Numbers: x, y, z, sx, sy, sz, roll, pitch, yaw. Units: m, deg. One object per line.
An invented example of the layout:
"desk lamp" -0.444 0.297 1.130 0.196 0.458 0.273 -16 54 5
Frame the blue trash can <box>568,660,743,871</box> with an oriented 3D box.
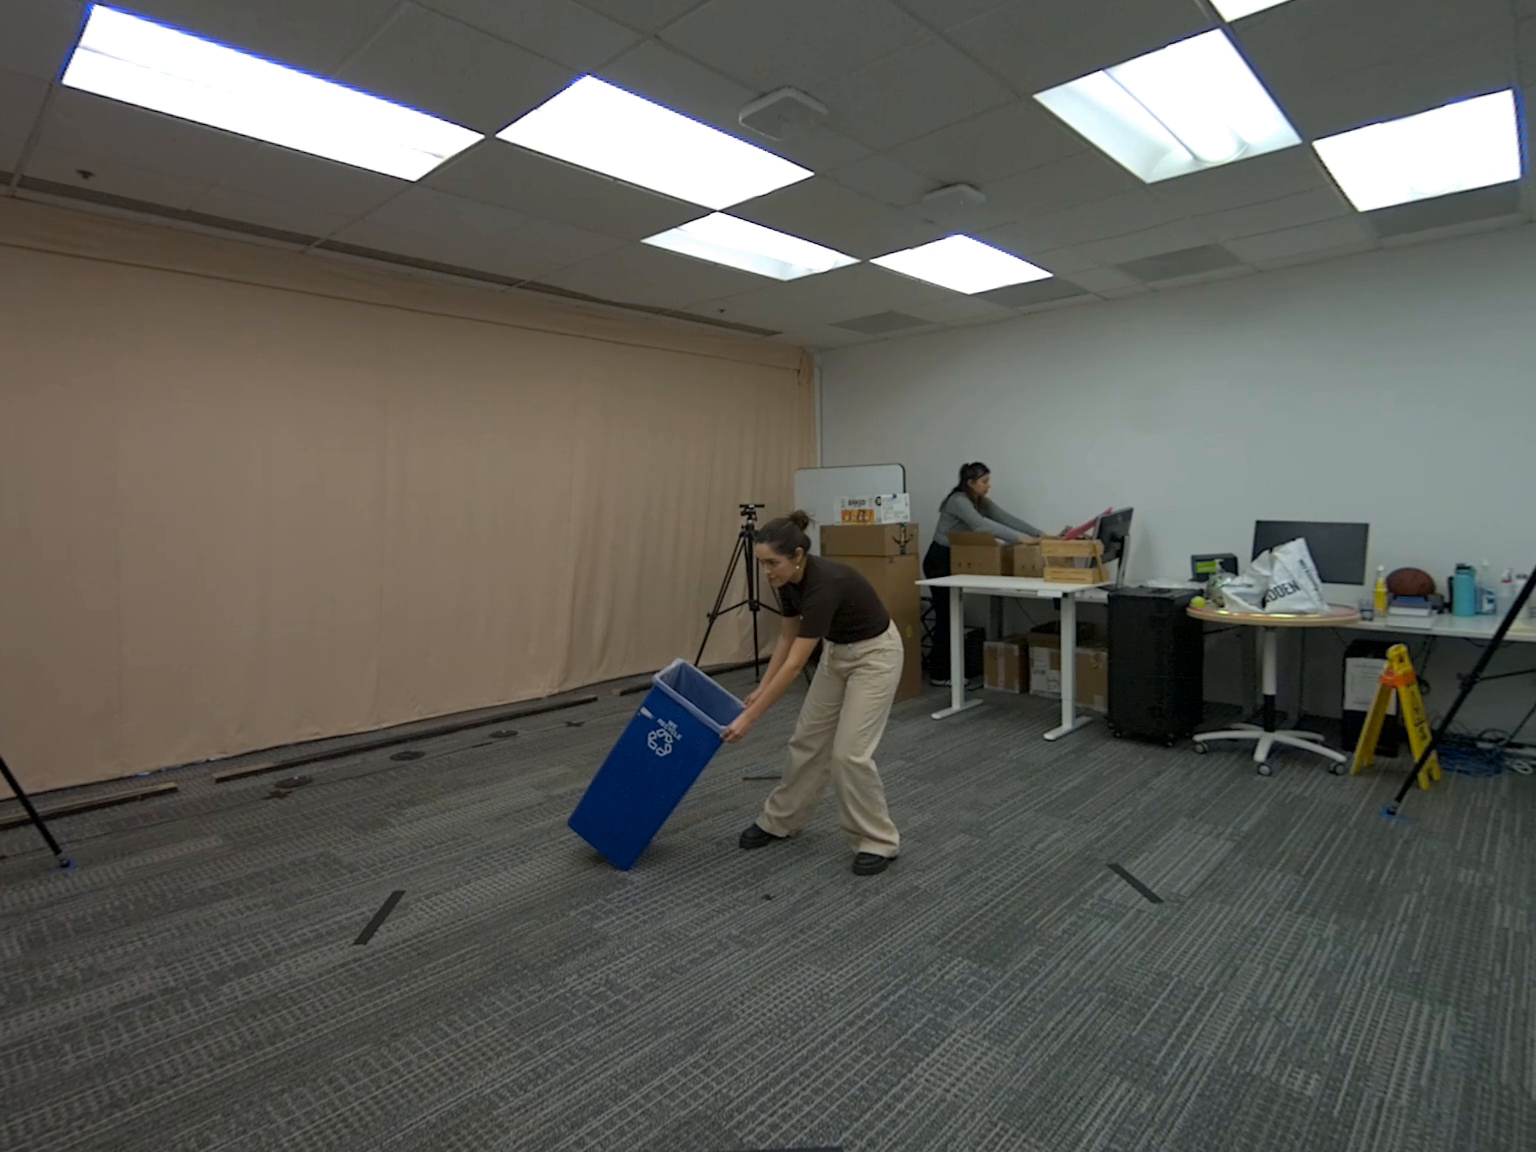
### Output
"blue trash can" -0.428 0.746 3.311 0.378 0.714 0.374 34 11 8
